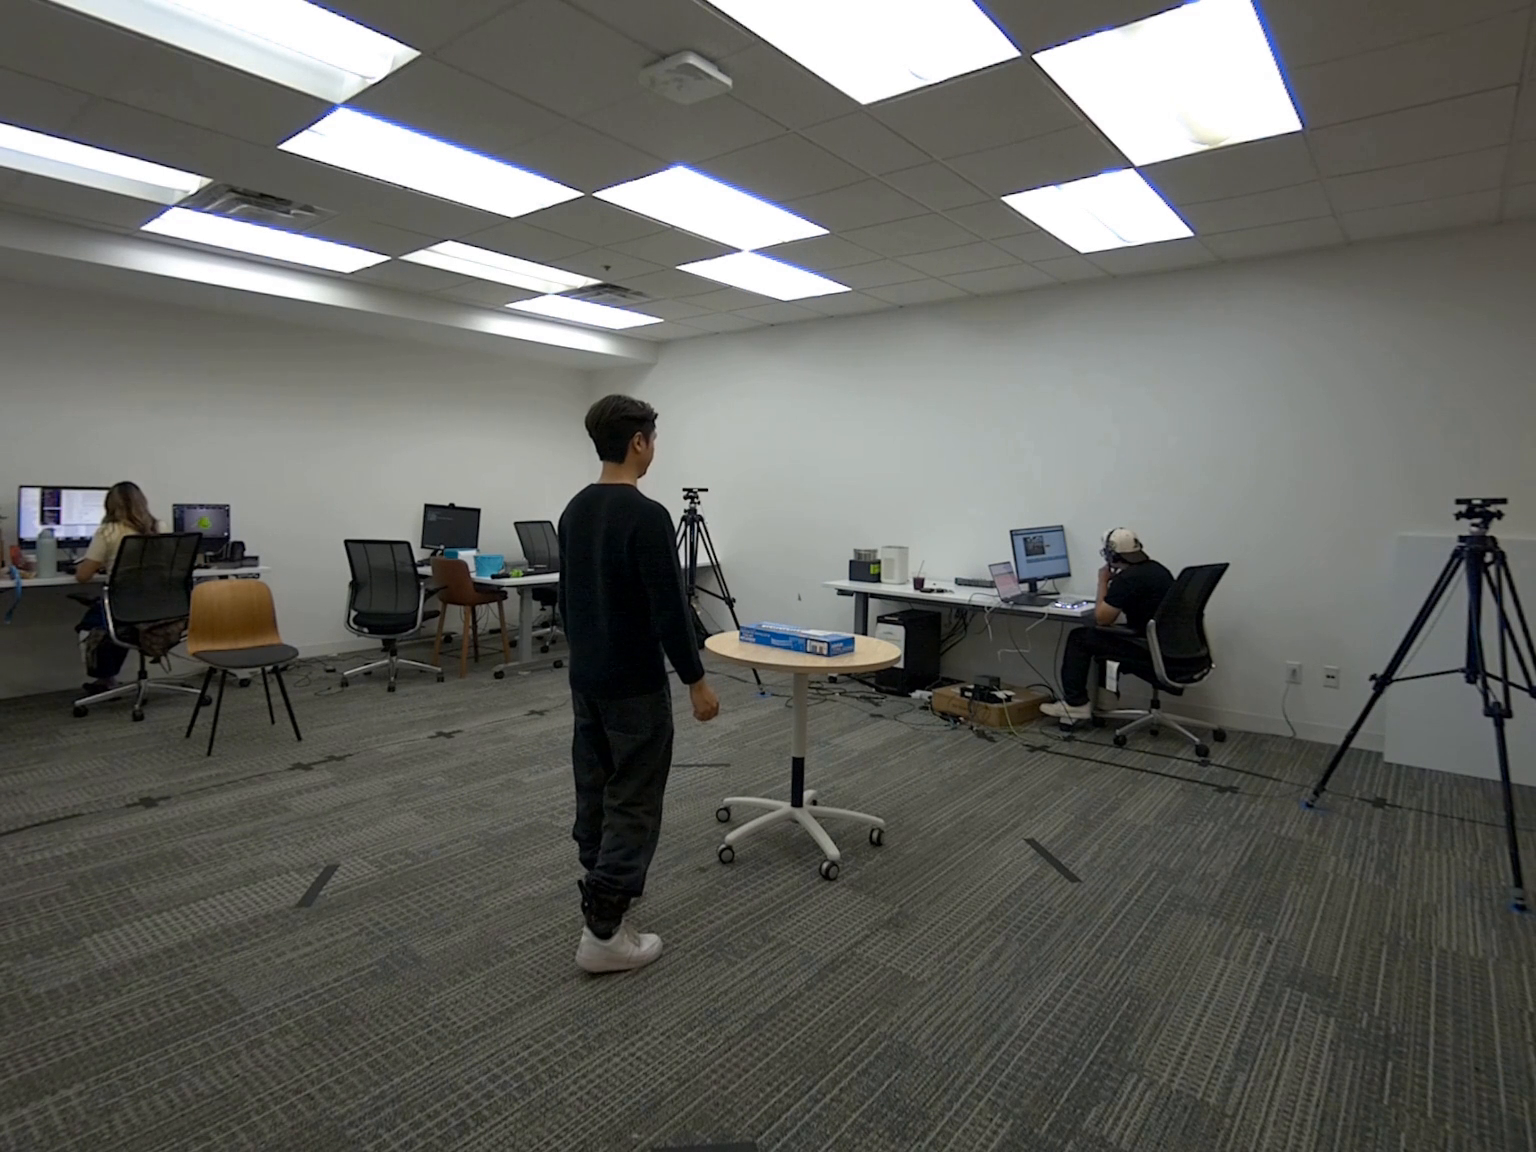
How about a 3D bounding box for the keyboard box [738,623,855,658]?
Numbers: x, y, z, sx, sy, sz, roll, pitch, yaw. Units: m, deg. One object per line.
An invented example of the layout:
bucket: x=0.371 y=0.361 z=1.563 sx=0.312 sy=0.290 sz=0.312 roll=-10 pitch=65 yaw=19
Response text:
keyboard box: x=0.100 y=0.241 z=3.328 sx=0.452 sy=0.059 sz=0.171 roll=7 pitch=8 yaw=40
